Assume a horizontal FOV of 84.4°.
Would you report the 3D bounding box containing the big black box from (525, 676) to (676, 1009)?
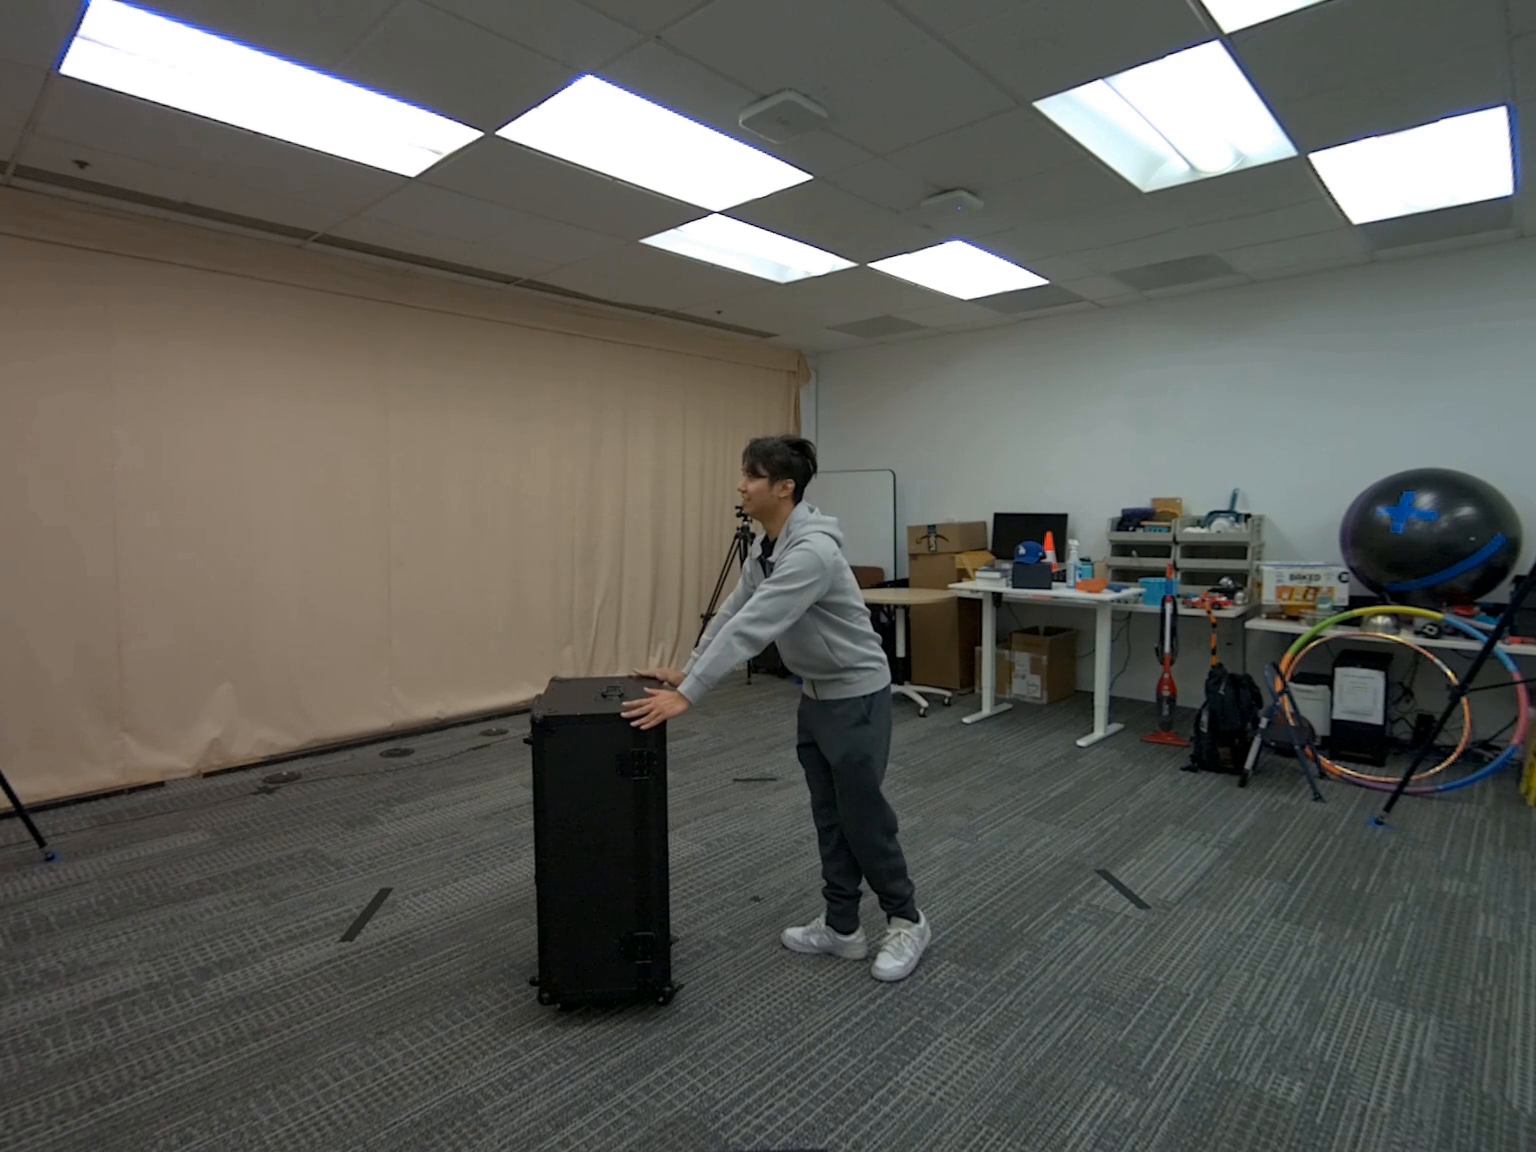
[{"bbox_3d":[-0.478,0.770,2.458,0.394,0.860,0.526,-2,3,-7],"label":"big black box"}]
